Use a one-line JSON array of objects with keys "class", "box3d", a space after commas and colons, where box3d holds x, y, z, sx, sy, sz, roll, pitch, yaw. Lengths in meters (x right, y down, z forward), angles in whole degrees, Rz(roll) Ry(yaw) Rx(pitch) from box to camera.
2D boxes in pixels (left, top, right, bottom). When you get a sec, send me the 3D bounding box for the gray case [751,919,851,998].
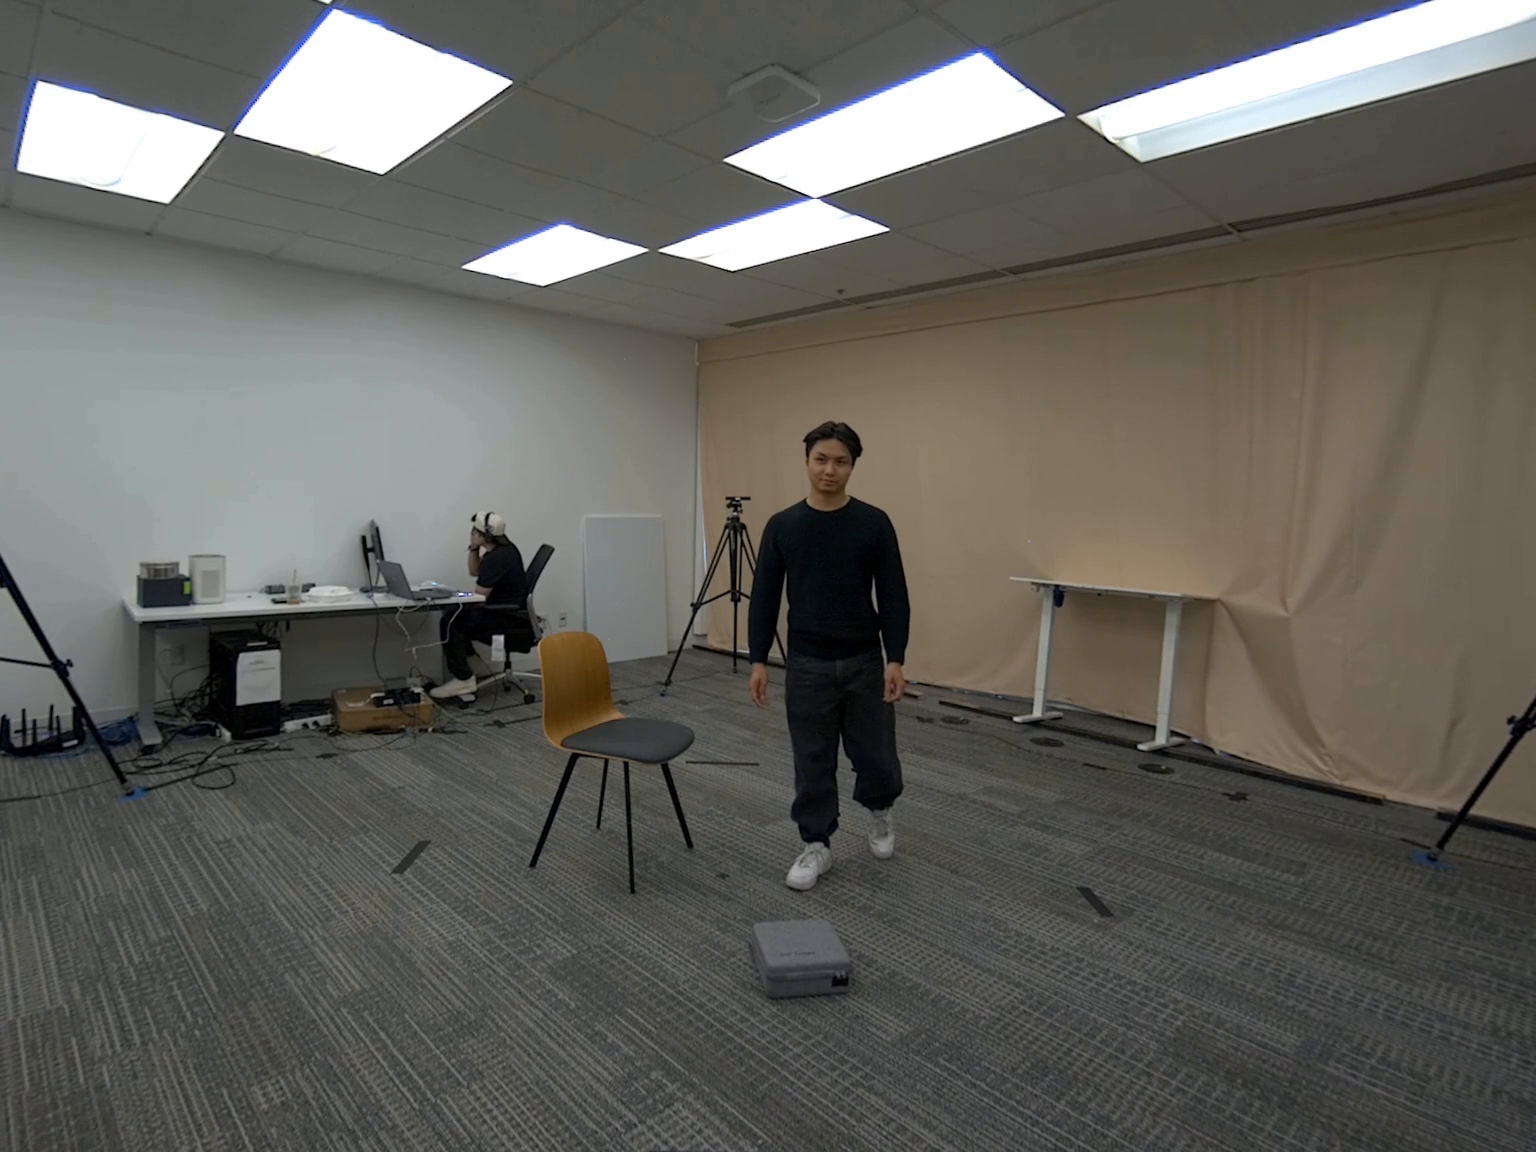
[{"class": "gray case", "box3d": [0.081, 1.116, 2.471, 0.255, 0.104, 0.263, 0, 5, -11]}]
